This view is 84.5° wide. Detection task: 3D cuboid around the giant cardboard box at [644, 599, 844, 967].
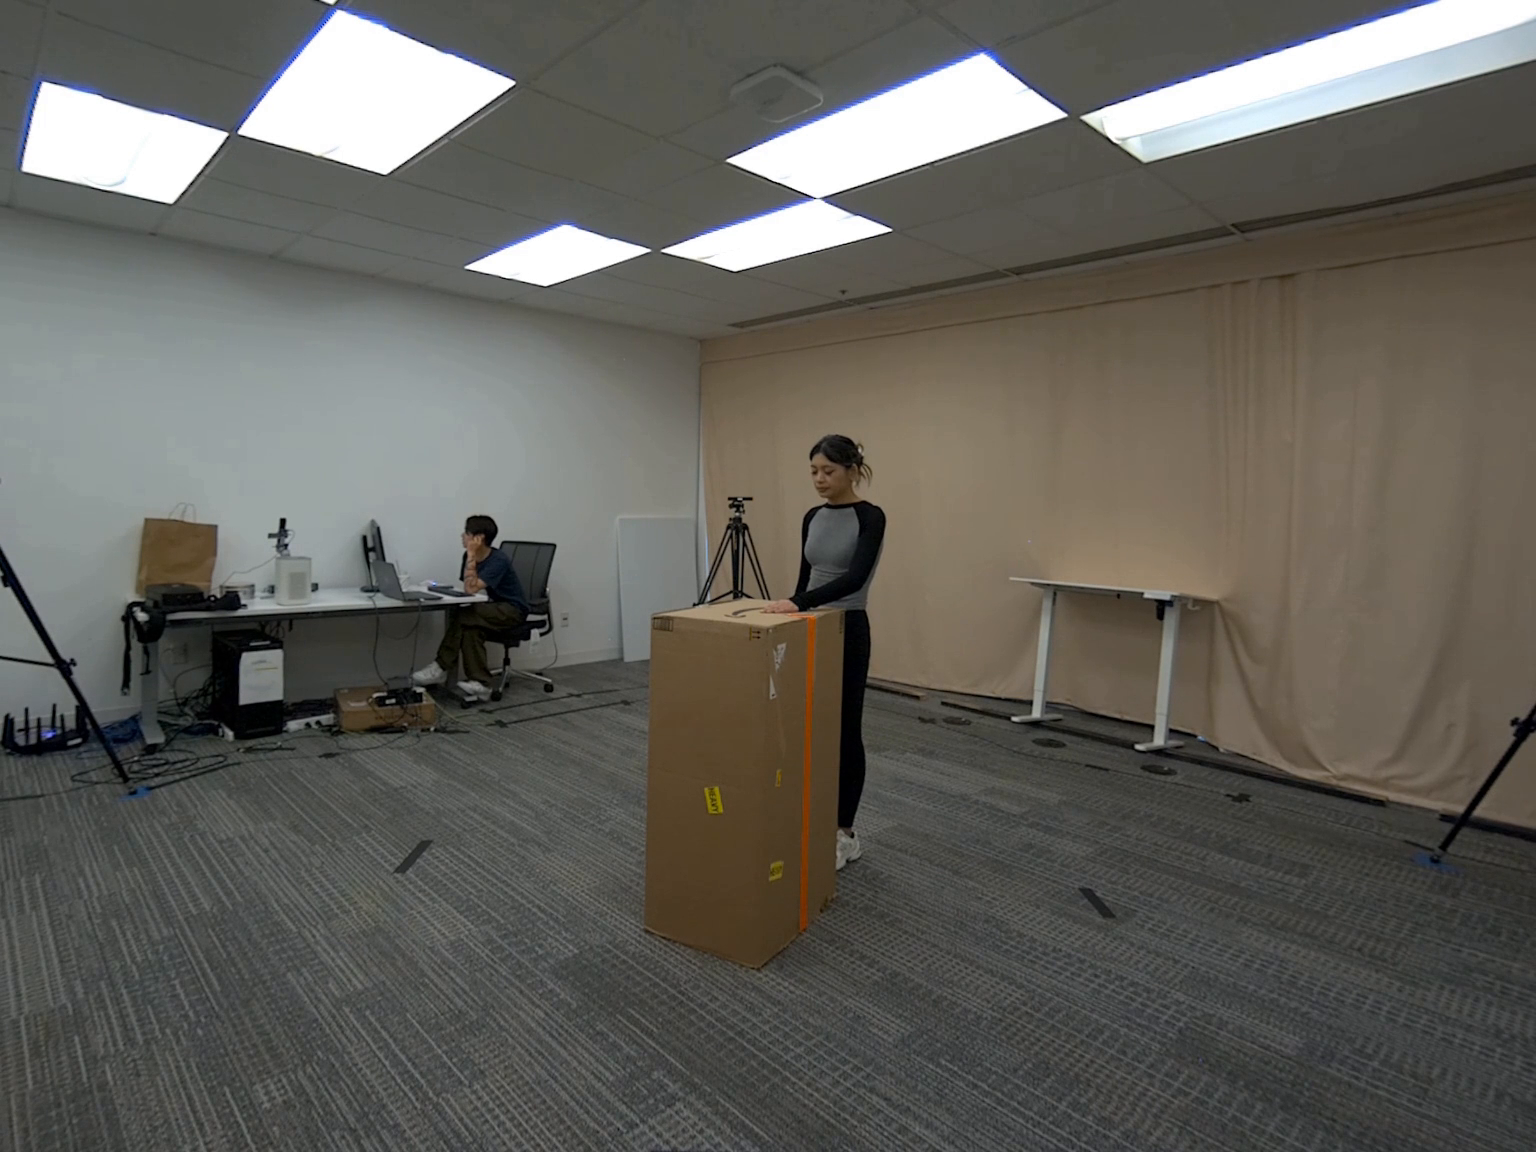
[{"bbox_3d":[-0.070,0.631,2.804,0.456,1.025,0.573,2,3,29],"label":"giant cardboard box"}]
